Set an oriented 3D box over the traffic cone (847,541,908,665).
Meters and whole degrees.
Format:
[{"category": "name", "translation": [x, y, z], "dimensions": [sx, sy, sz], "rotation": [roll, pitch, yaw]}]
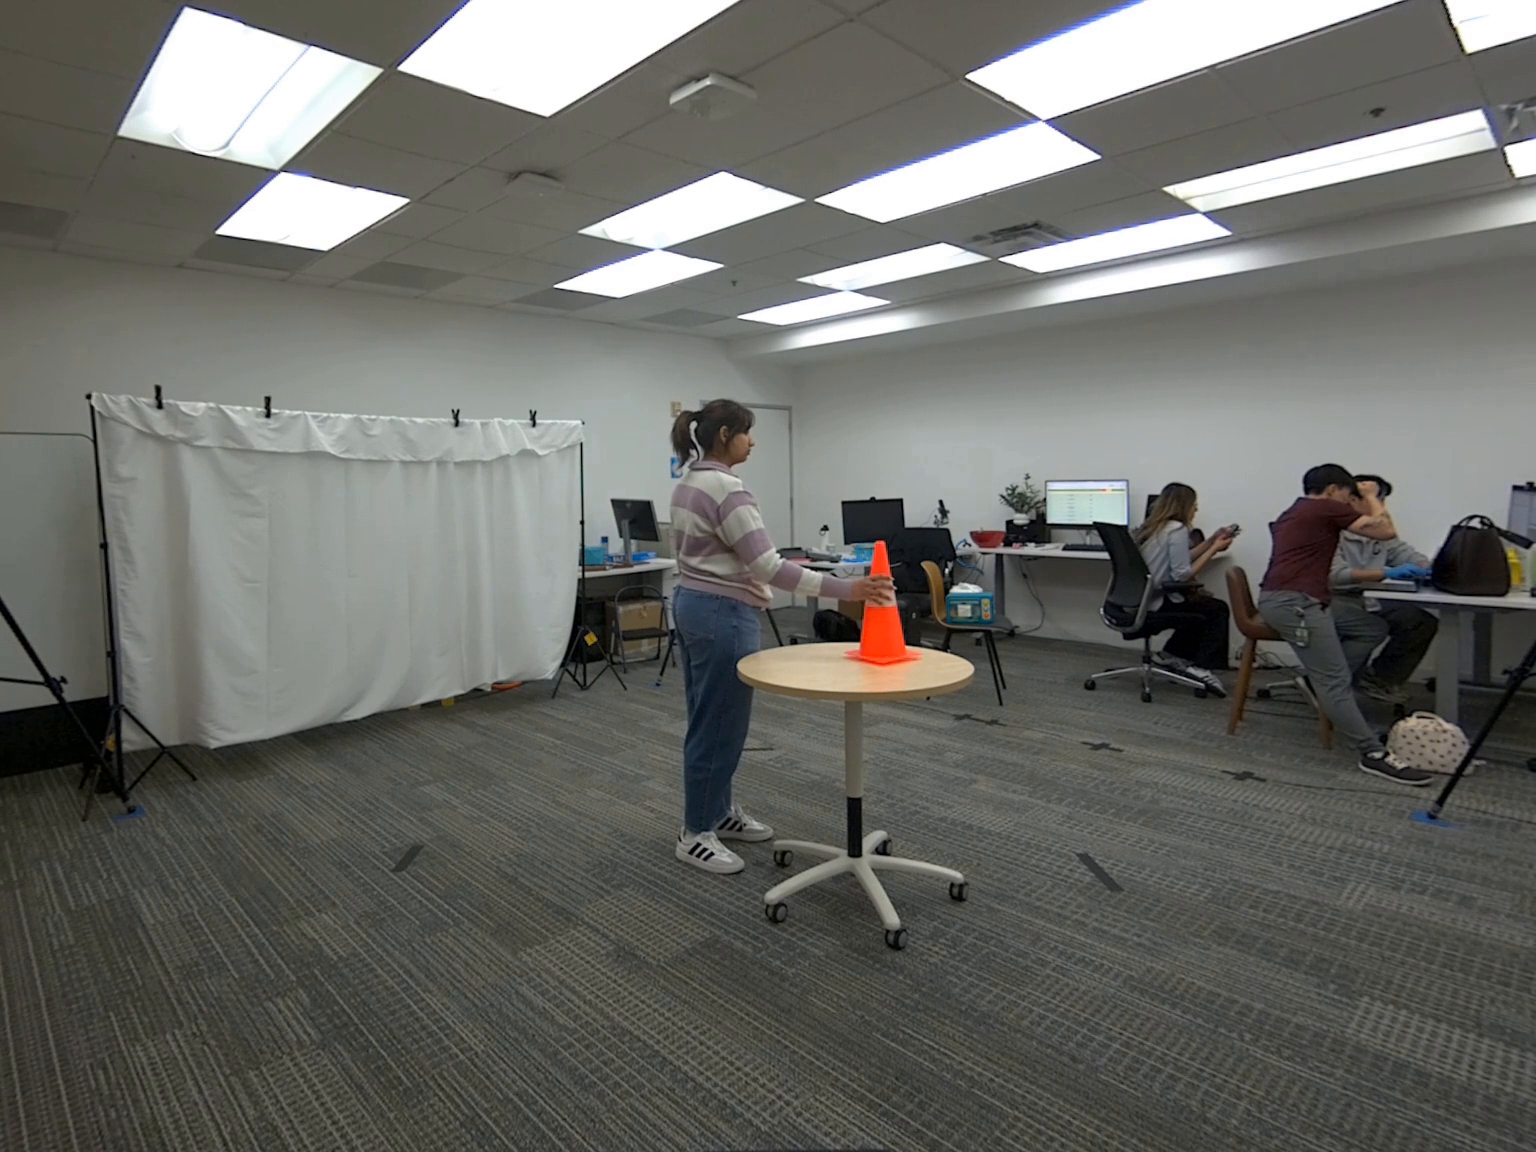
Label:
[{"category": "traffic cone", "translation": [0.378, 0.077, 2.878], "dimensions": [0.200, 0.382, 0.209], "rotation": [-7, 6, -41]}]
